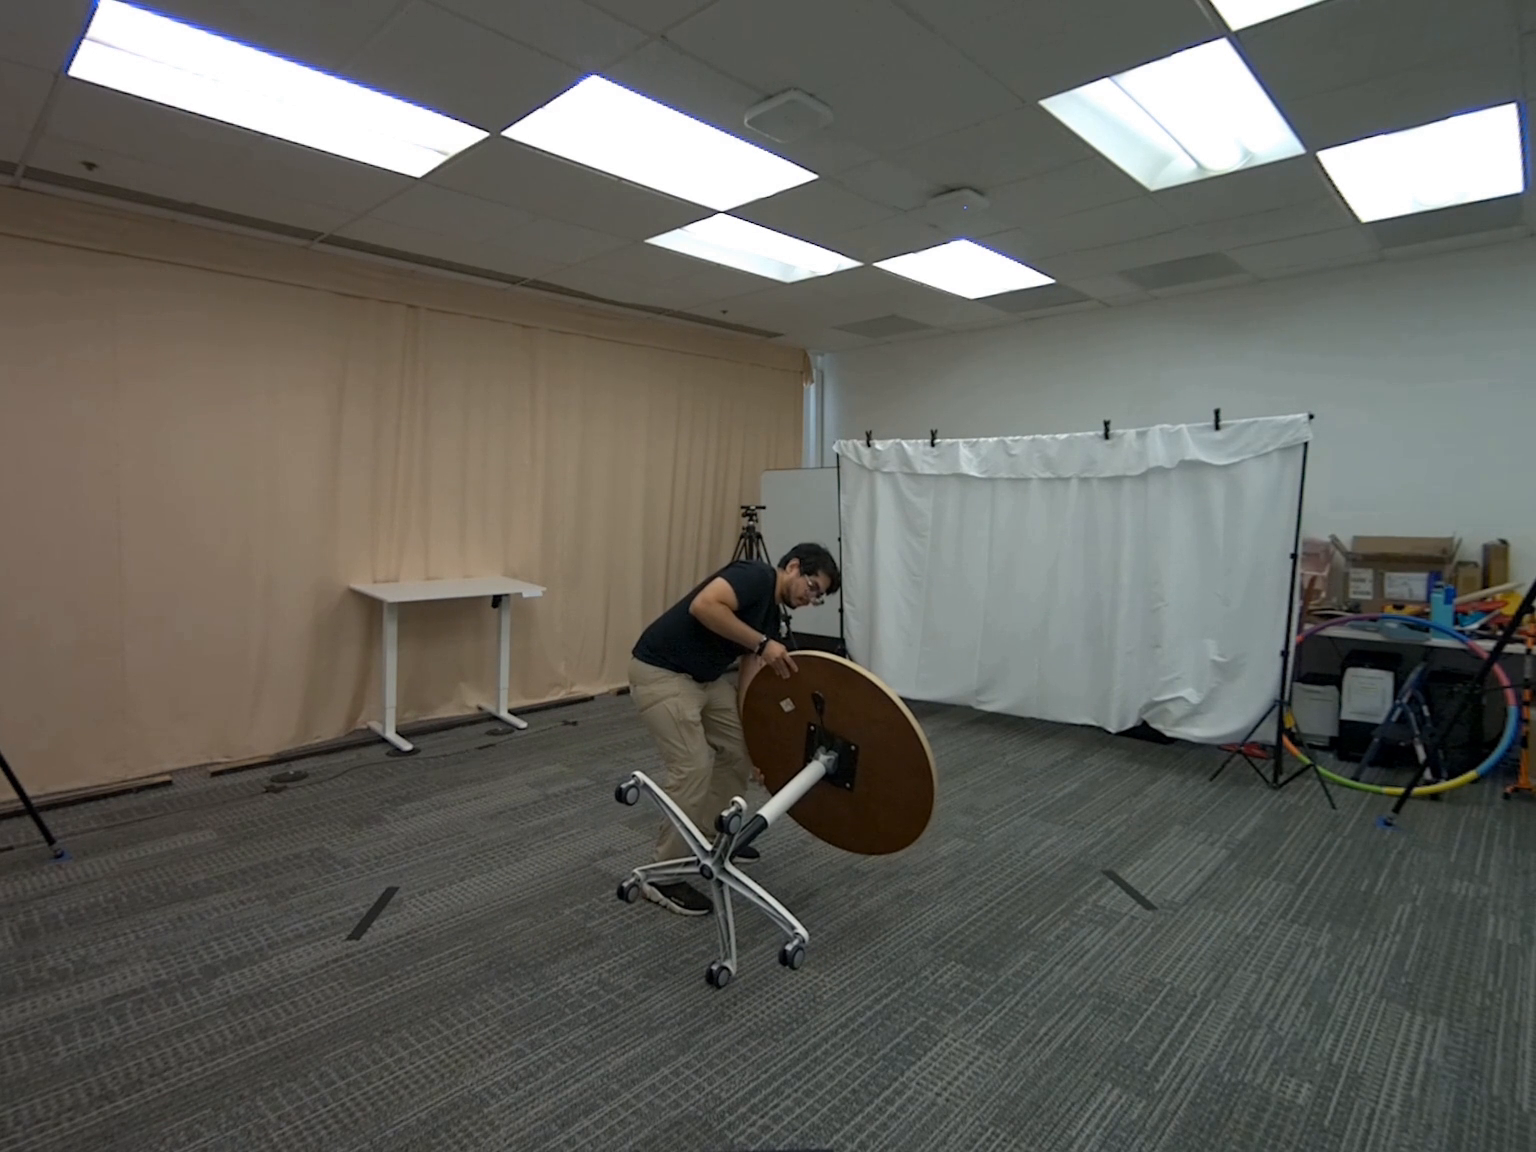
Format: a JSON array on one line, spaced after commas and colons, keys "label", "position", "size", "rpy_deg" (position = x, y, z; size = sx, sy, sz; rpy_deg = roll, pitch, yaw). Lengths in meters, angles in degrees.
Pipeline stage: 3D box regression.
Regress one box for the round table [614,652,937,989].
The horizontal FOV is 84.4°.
[{"label": "round table", "position": [0.008, 0.736, 2.631], "size": [0.811, 0.775, 0.771], "rpy_deg": [3, 20, 38]}]
